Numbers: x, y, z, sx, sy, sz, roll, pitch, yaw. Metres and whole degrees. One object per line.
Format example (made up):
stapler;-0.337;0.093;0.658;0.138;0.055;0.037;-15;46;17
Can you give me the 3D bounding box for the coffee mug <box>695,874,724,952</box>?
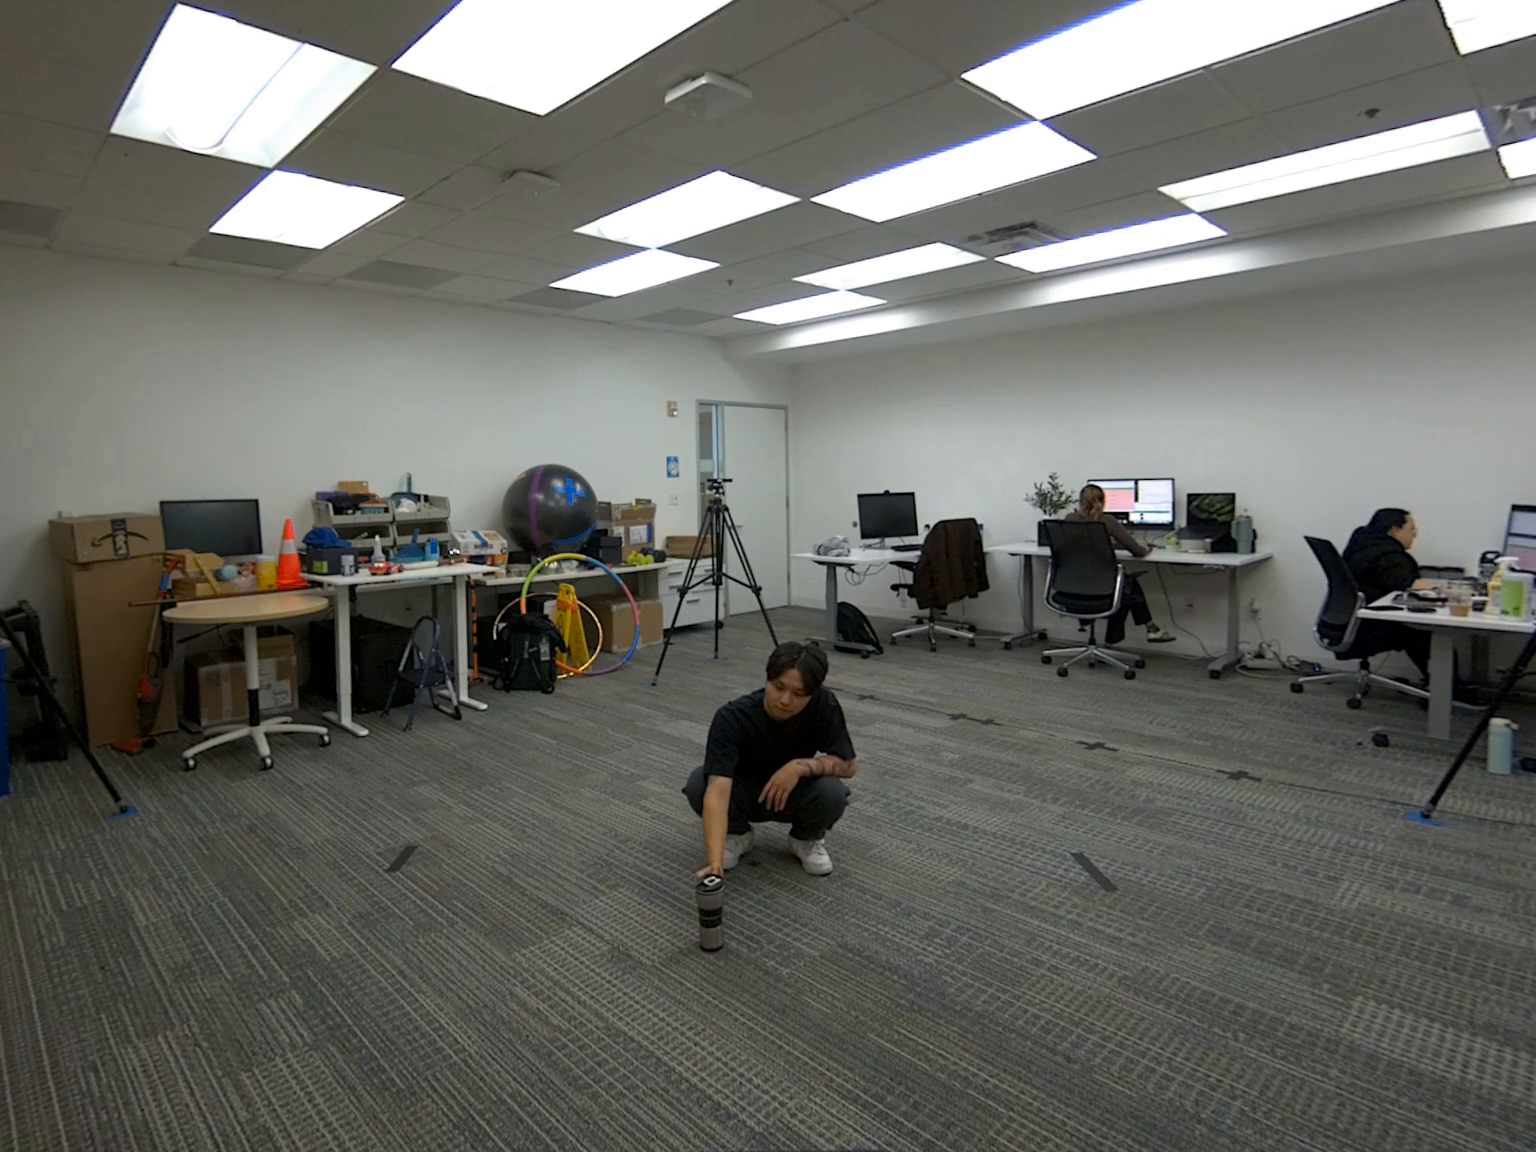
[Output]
coffee mug;-0.155;1.015;2.568;0.090;0.202;0.119;-2;8;45
